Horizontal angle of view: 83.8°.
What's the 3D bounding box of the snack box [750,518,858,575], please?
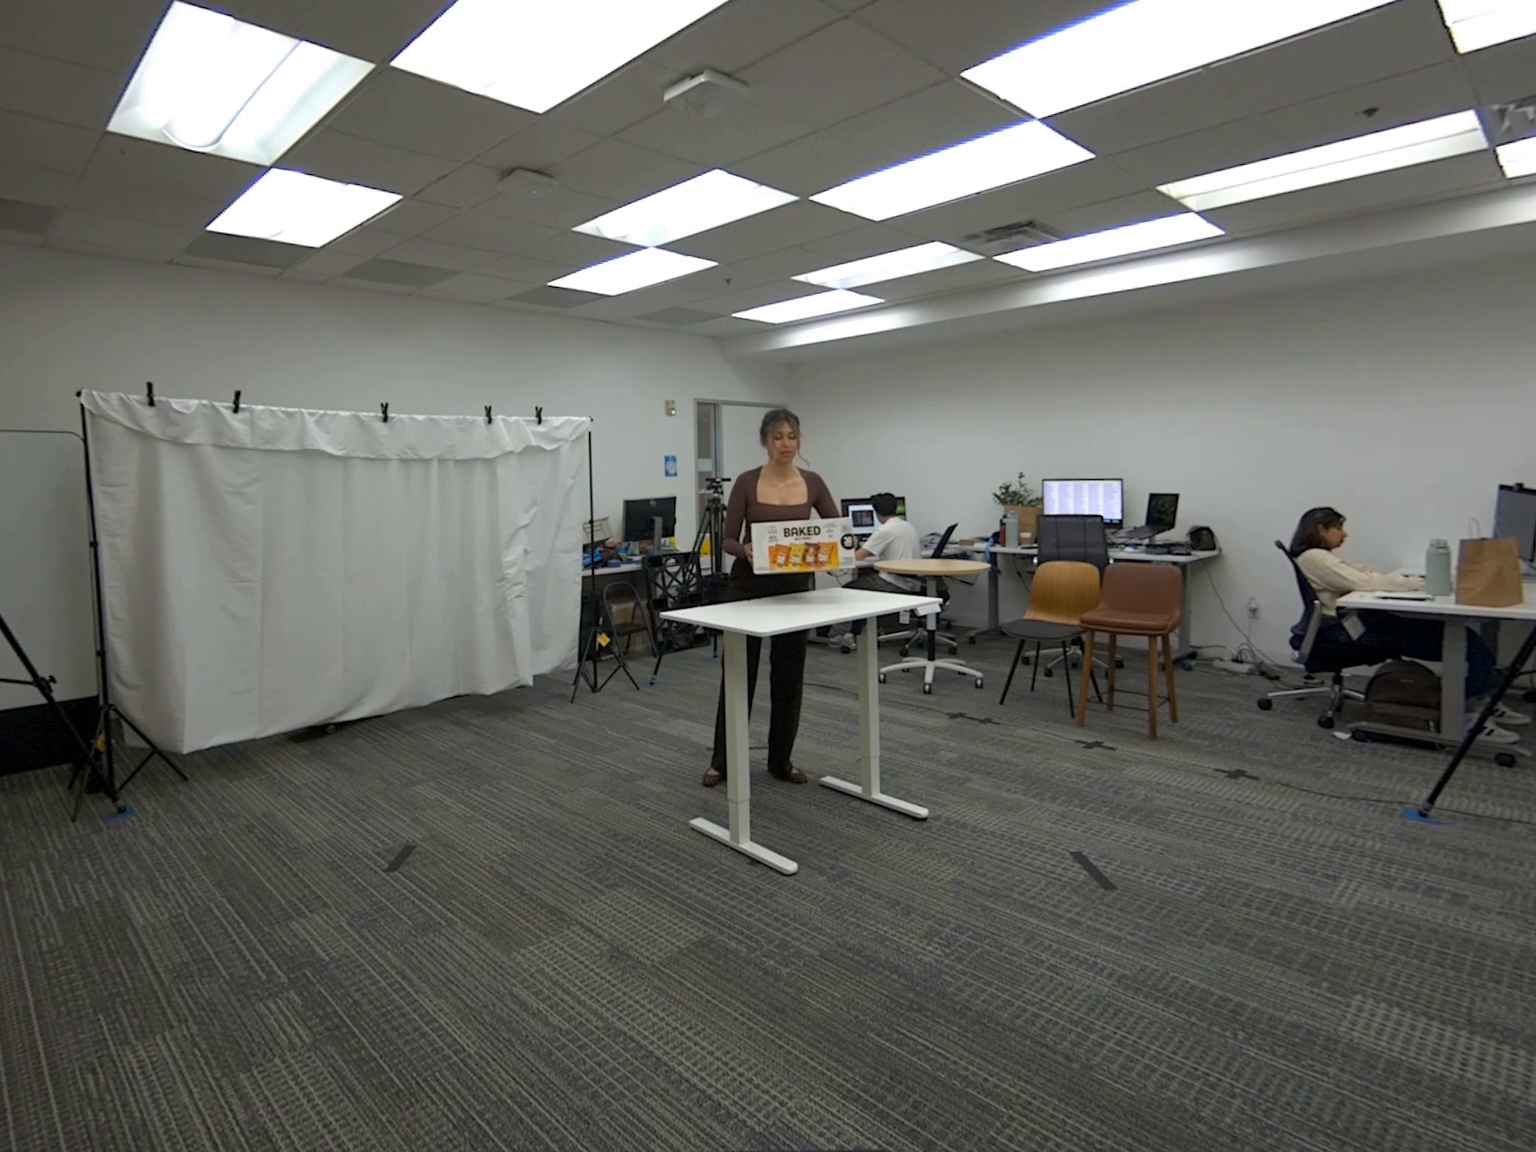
[{"bbox_3d":[0.140,-0.114,3.575,0.406,0.206,0.338,-4,-1,2],"label":"snack box"}]
